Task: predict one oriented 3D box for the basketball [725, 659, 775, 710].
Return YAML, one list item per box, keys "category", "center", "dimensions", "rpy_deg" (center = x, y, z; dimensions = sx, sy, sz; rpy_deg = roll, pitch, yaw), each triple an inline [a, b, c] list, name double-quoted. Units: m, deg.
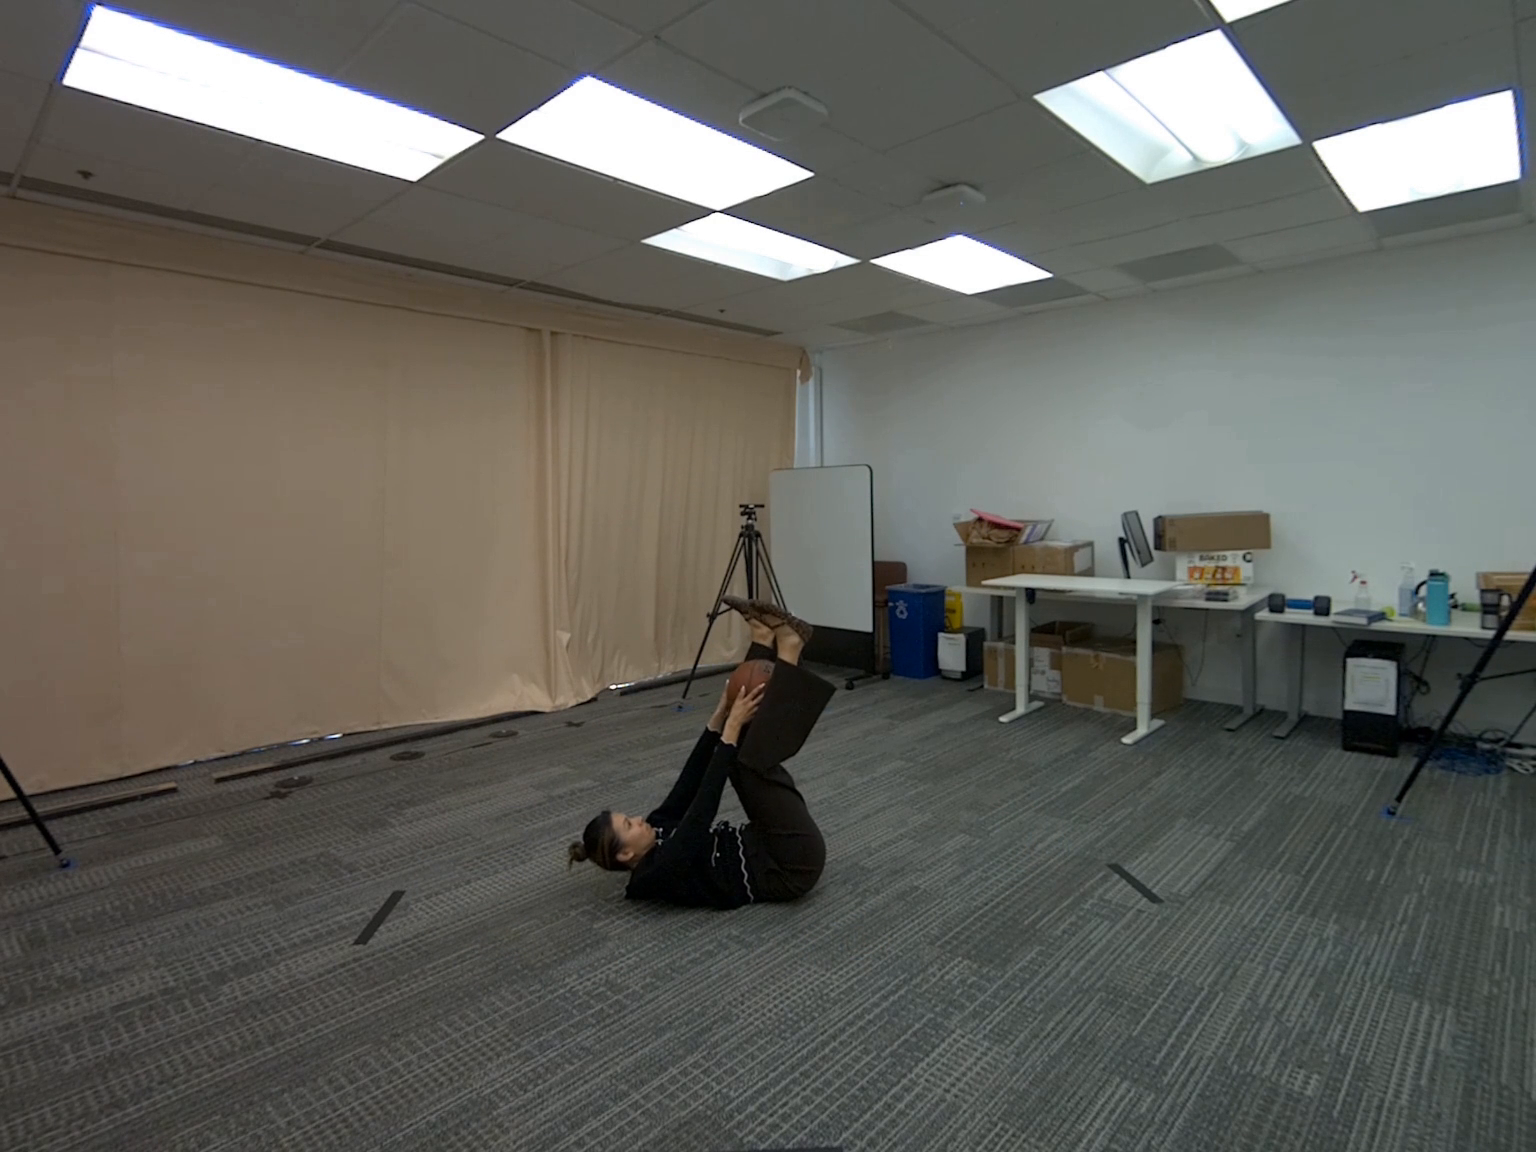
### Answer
- category: "basketball"
  center: [-0.032, 0.415, 3.024]
  dimensions: [0.236, 0.235, 0.237]
  rpy_deg: [-1, 4, -2]
